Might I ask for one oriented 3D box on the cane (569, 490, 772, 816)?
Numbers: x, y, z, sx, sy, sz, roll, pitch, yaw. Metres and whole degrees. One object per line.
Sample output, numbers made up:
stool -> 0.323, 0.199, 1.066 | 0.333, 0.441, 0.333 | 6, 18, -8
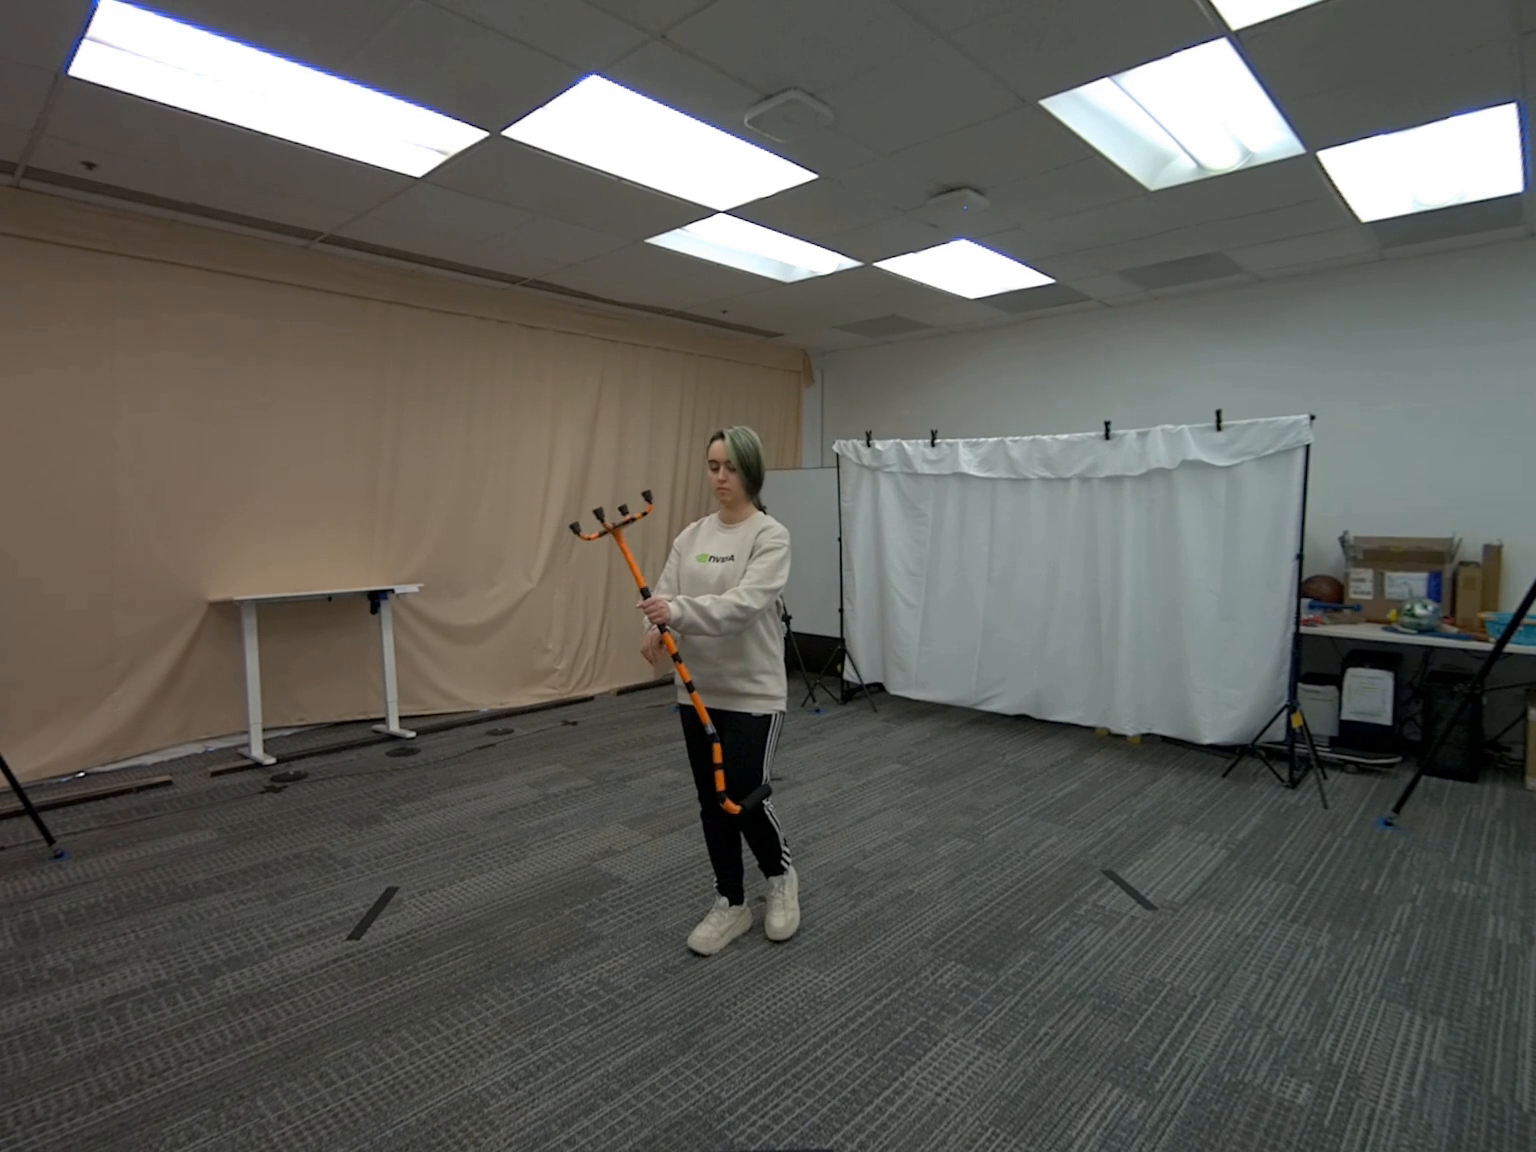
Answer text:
cane -> -0.236, 0.227, 2.289 | 0.202, 0.908, 0.155 | -24, 0, -42
